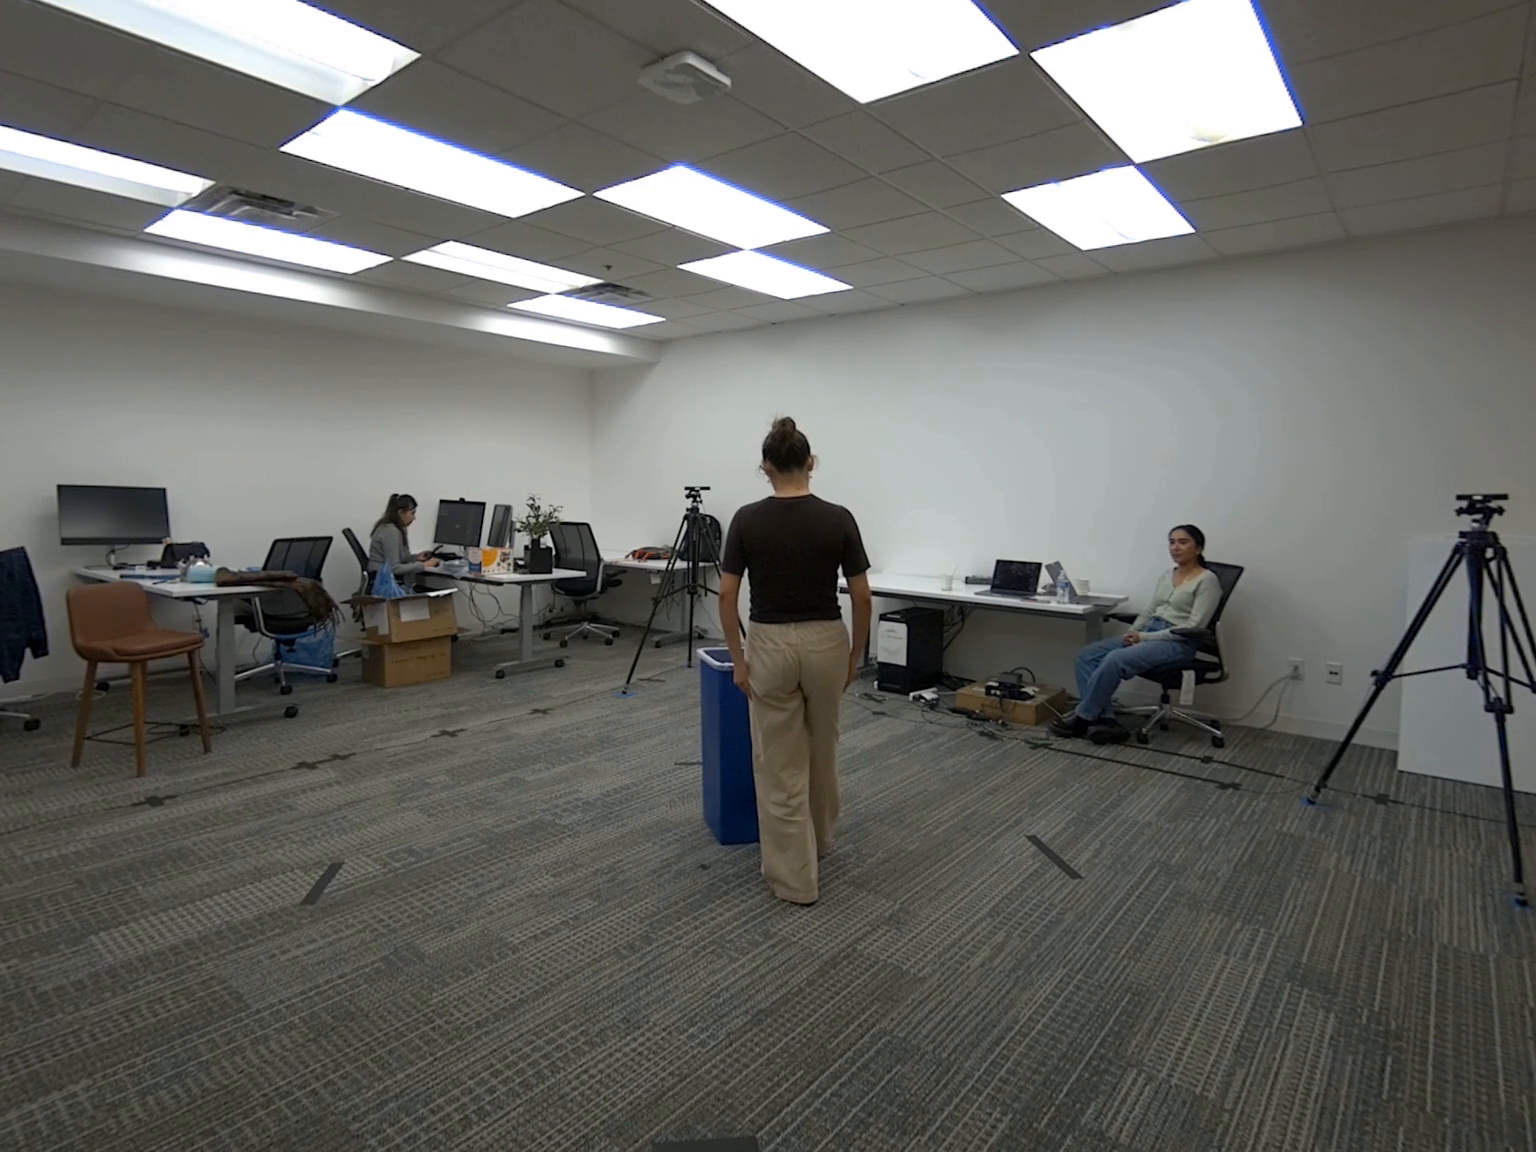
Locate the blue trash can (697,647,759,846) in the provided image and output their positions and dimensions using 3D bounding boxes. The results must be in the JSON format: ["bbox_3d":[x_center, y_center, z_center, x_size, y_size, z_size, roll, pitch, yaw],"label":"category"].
[{"bbox_3d":[-0.089,0.669,3.477,0.368,0.712,0.385,0,3,-17],"label":"blue trash can"}]
